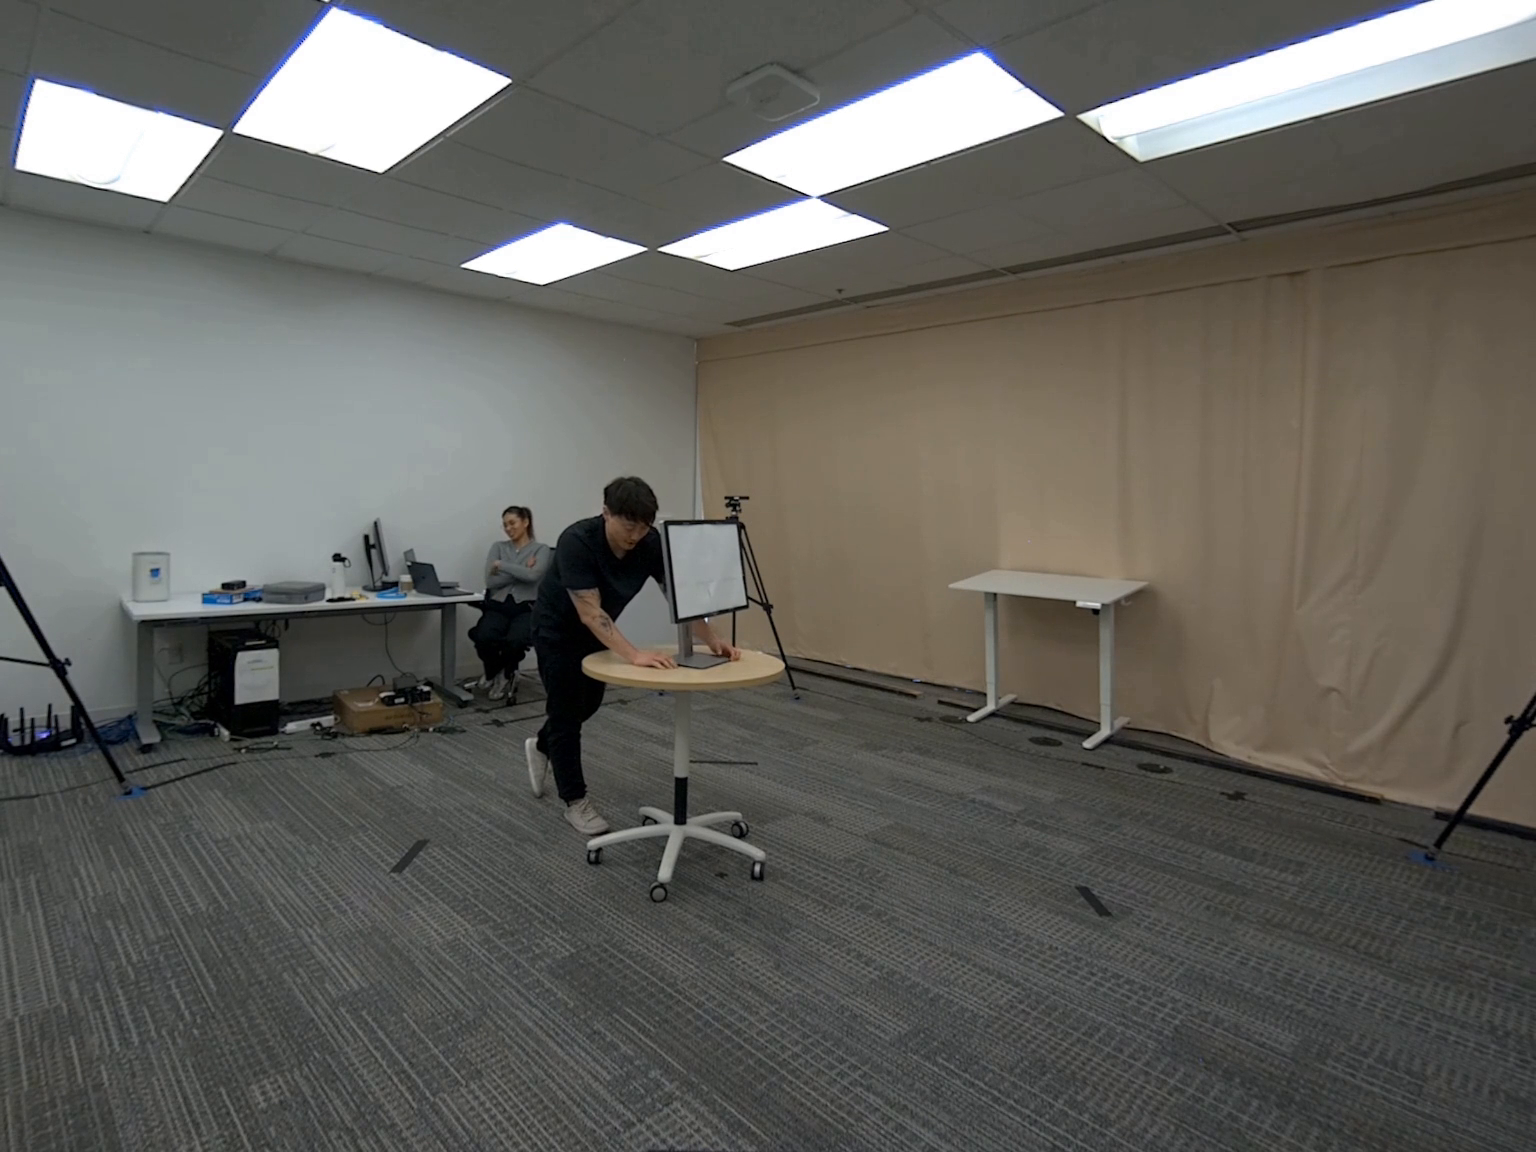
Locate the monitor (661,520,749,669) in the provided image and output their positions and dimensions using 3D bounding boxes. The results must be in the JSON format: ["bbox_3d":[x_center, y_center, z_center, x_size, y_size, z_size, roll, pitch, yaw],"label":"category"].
[{"bbox_3d":[-0.270,0.060,3.189,0.191,0.521,0.530,6,5,25],"label":"monitor"}]
